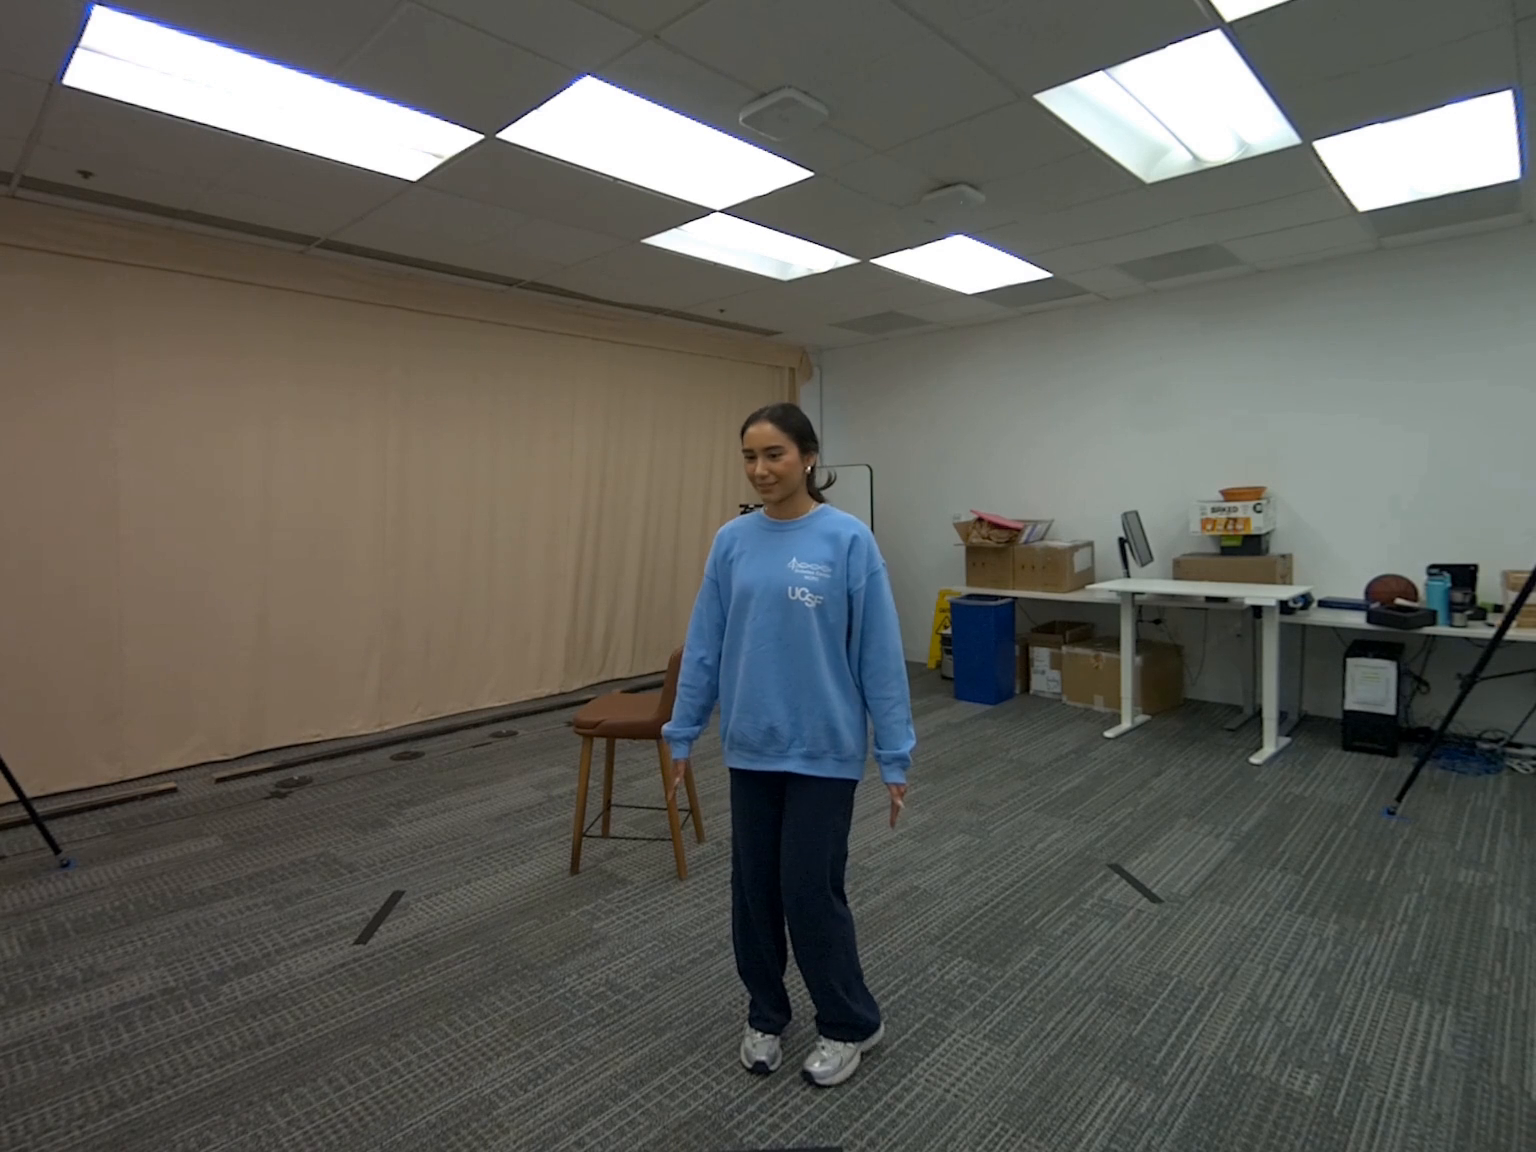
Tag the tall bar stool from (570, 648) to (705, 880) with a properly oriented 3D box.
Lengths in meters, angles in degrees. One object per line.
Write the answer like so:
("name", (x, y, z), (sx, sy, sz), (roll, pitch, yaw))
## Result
("tall bar stool", (-0.513, 0.689, 3.339), (0.473, 0.888, 0.452), (0, 3, 10))
